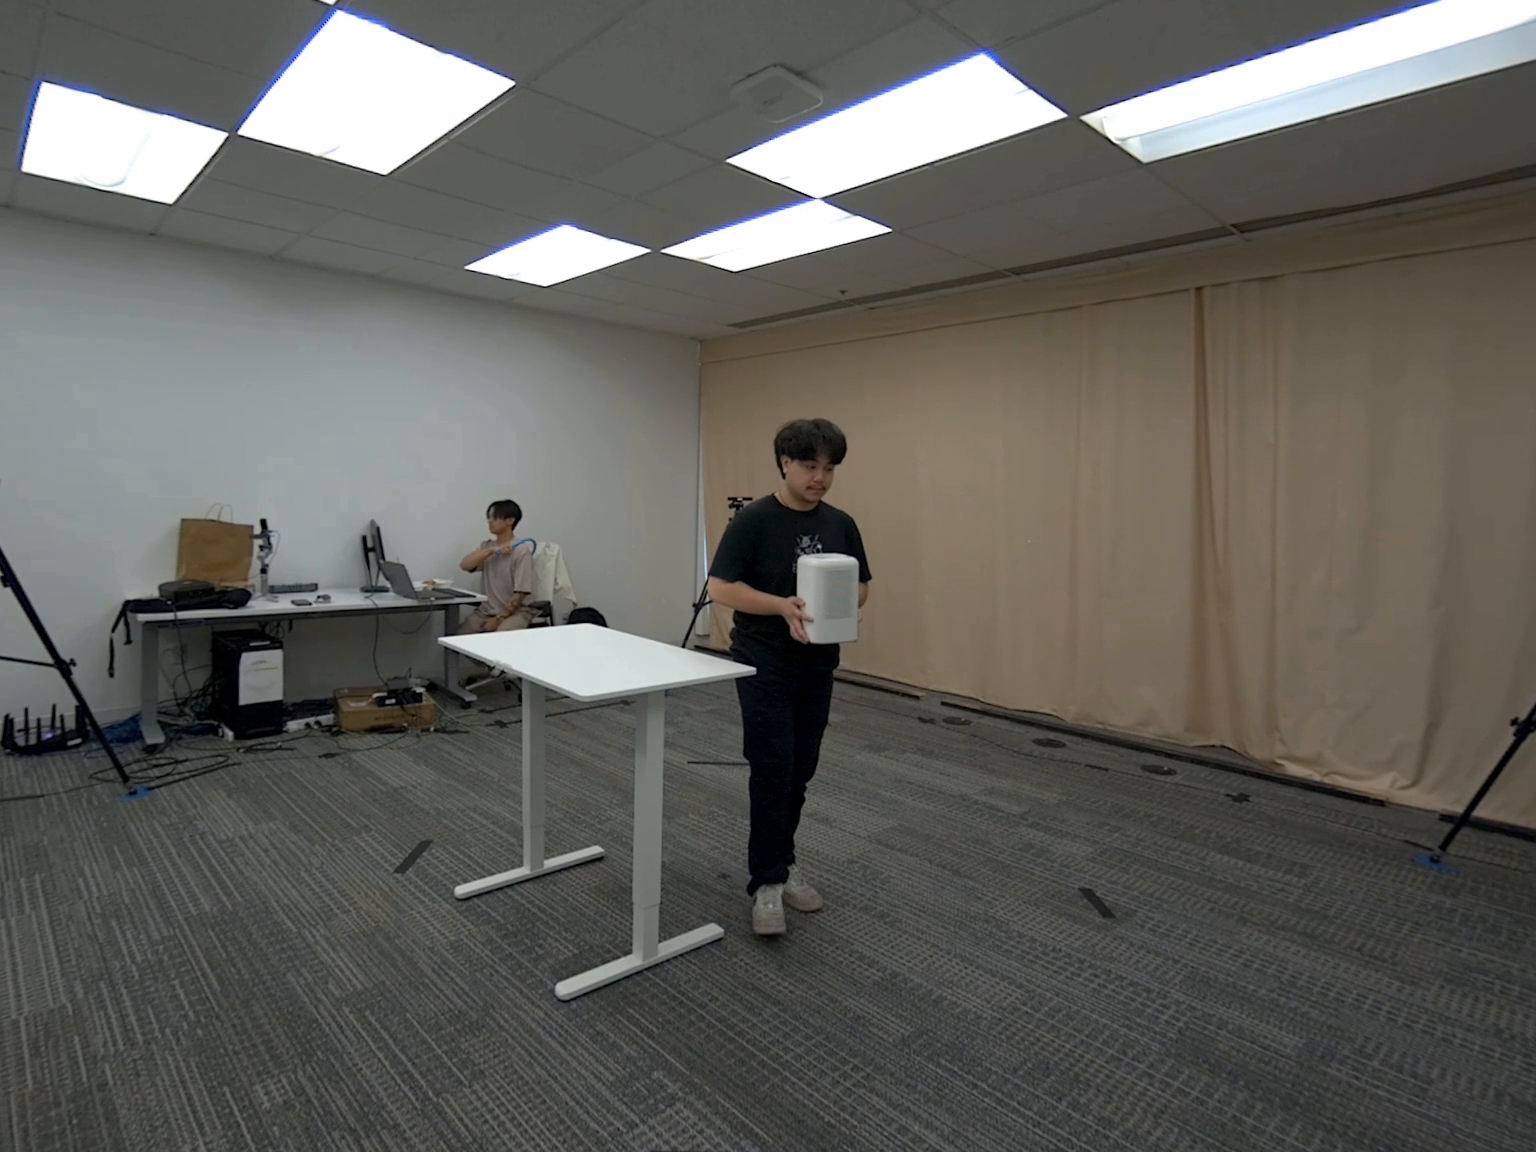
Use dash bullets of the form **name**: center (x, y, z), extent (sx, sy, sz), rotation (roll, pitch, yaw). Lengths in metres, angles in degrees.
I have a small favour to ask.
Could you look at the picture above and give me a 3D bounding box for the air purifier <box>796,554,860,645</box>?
- **air purifier**: center (0.176, 0.067, 2.661), extent (0.169, 0.264, 0.174), rotation (-1, 7, -19)
